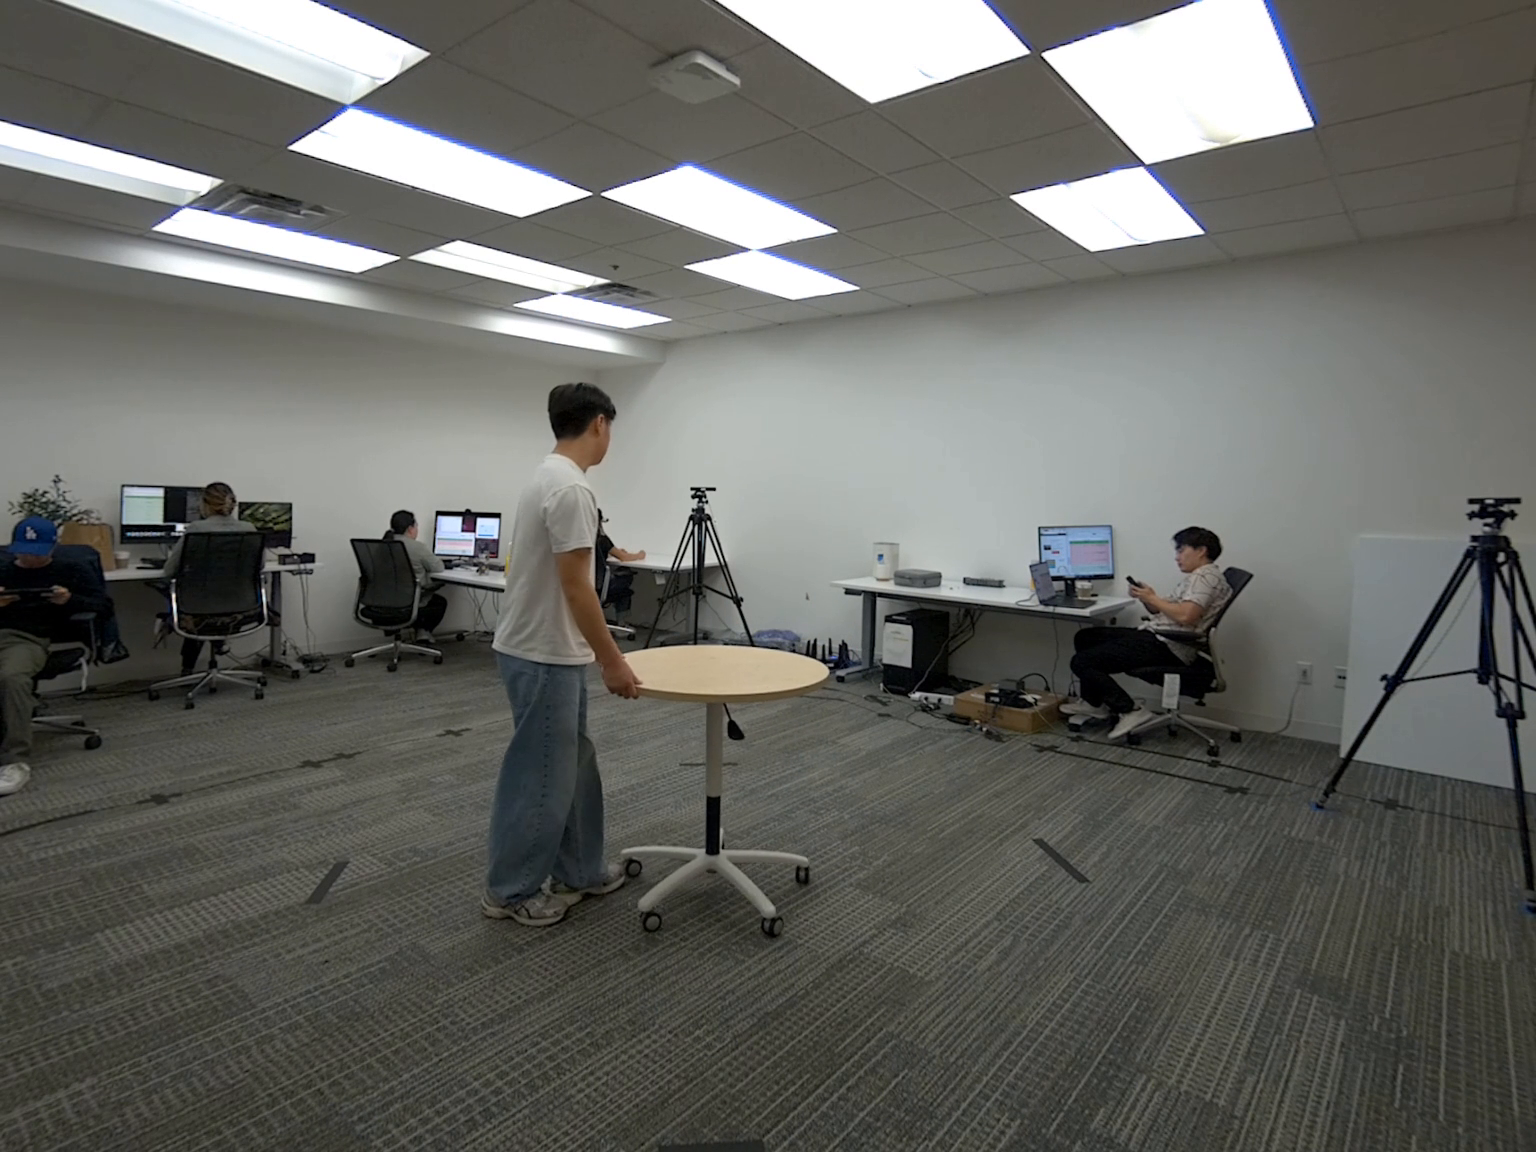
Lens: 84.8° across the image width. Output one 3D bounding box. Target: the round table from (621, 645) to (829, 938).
[{"bbox_3d":[-0.196,0.703,2.901,0.763,0.791,0.768,1,4,-2],"label":"round table"}]
